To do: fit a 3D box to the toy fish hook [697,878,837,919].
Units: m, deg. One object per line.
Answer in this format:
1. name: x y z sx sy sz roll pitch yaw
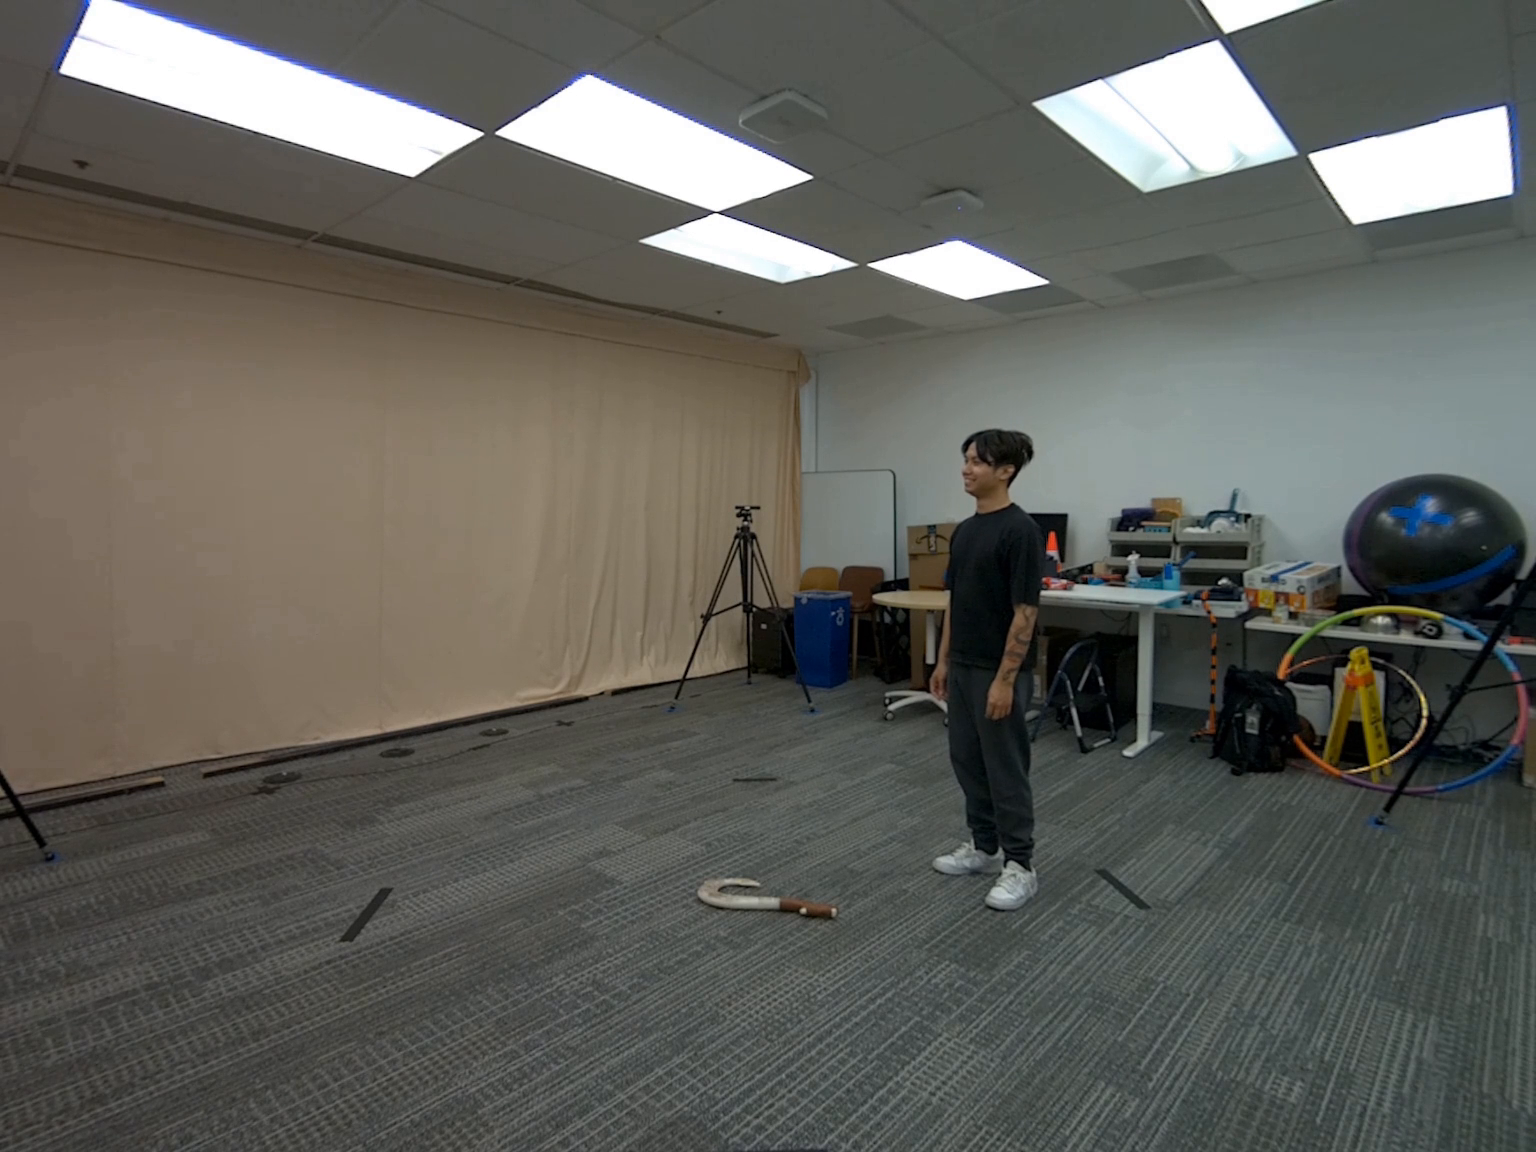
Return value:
1. toy fish hook: 0.006 1.125 2.963 0.516 0.048 0.221 1 7 18
